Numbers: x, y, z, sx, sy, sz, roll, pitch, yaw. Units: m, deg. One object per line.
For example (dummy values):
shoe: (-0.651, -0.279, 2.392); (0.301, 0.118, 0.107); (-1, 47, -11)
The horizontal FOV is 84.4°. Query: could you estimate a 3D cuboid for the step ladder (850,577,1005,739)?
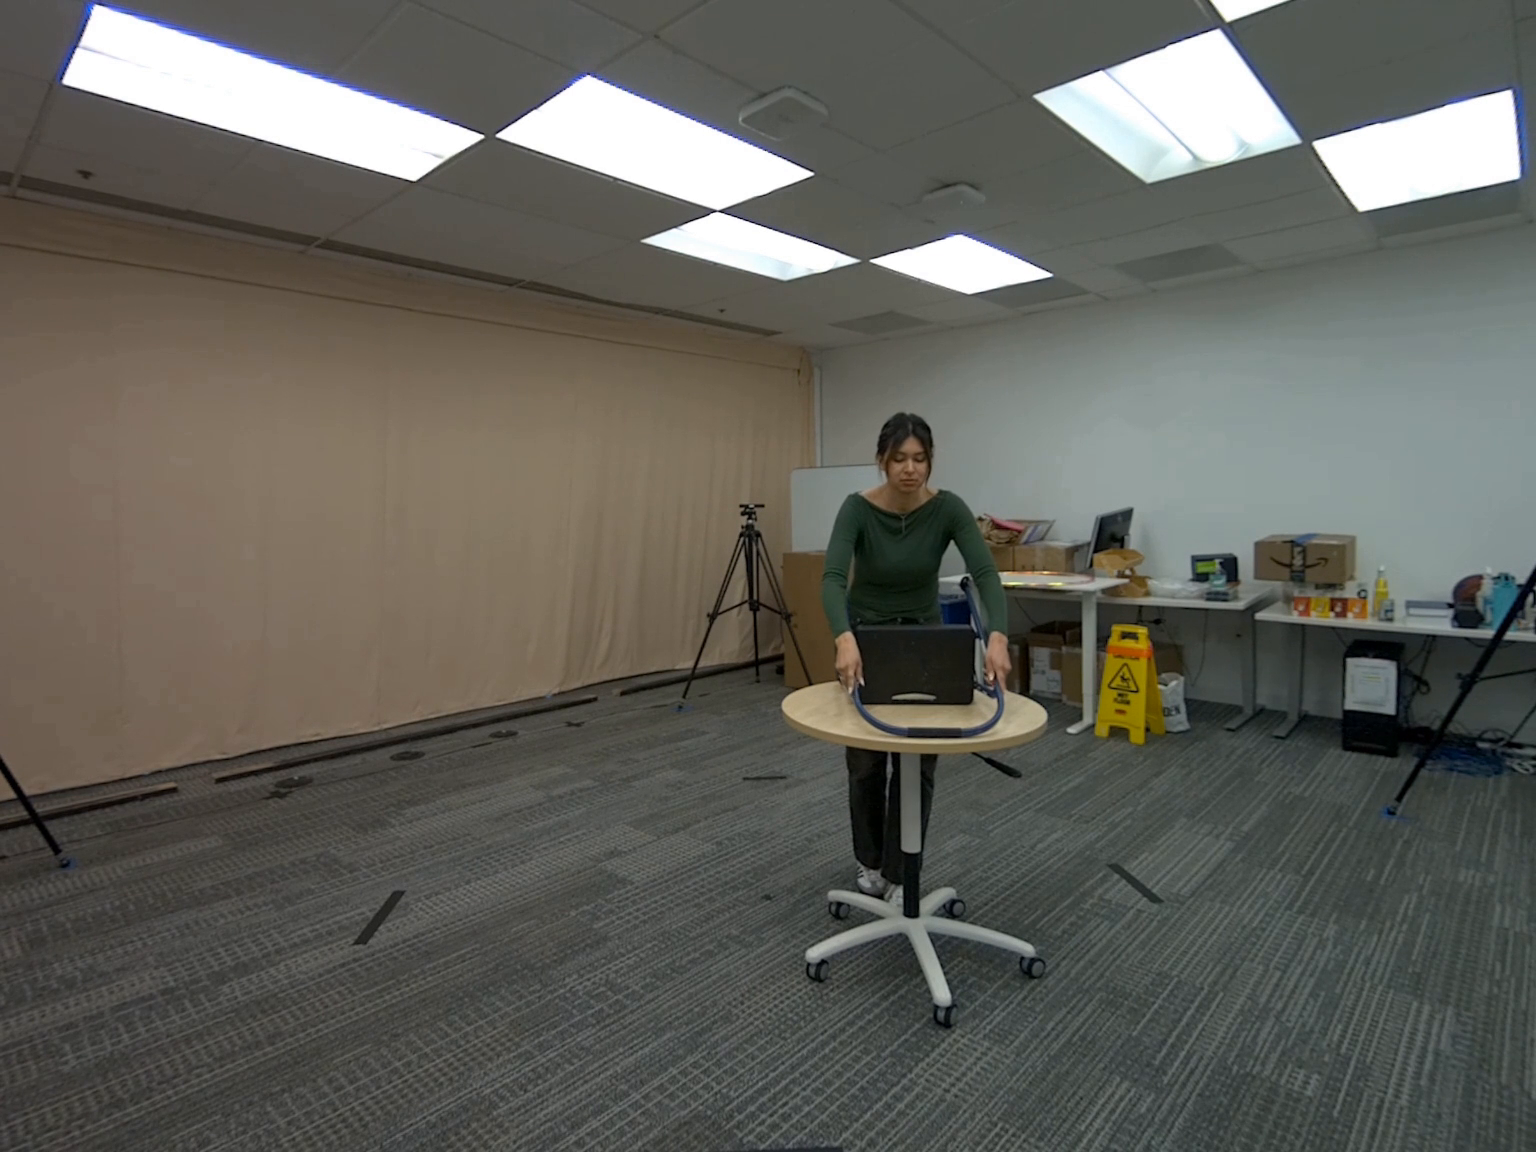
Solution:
step ladder: (0.430, 0.260, 2.449); (0.433, 0.346, 0.609); (-2, 15, 3)
